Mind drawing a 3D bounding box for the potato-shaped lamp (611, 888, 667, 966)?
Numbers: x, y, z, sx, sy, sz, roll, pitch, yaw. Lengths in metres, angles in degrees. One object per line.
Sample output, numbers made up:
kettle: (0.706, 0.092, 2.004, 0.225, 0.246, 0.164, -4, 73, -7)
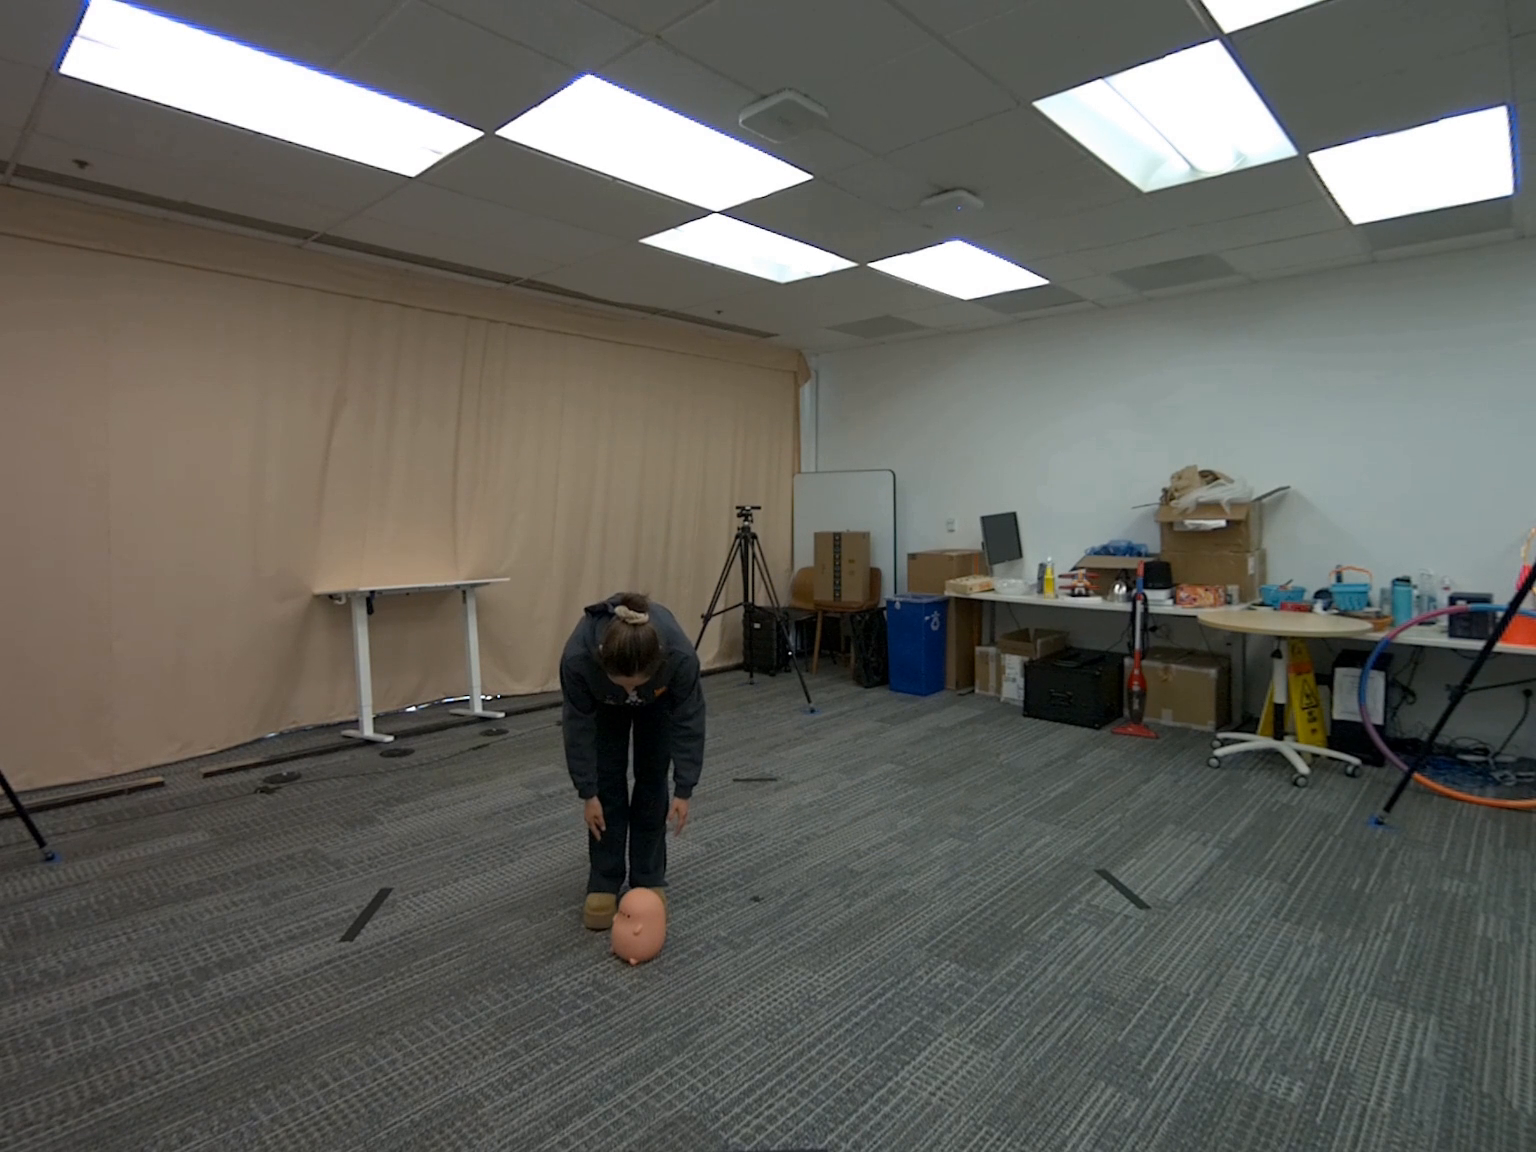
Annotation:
potato-shaped lamp: (-0.381, 1.083, 2.616, 0.166, 0.198, 0.170, -3, 2, -41)
